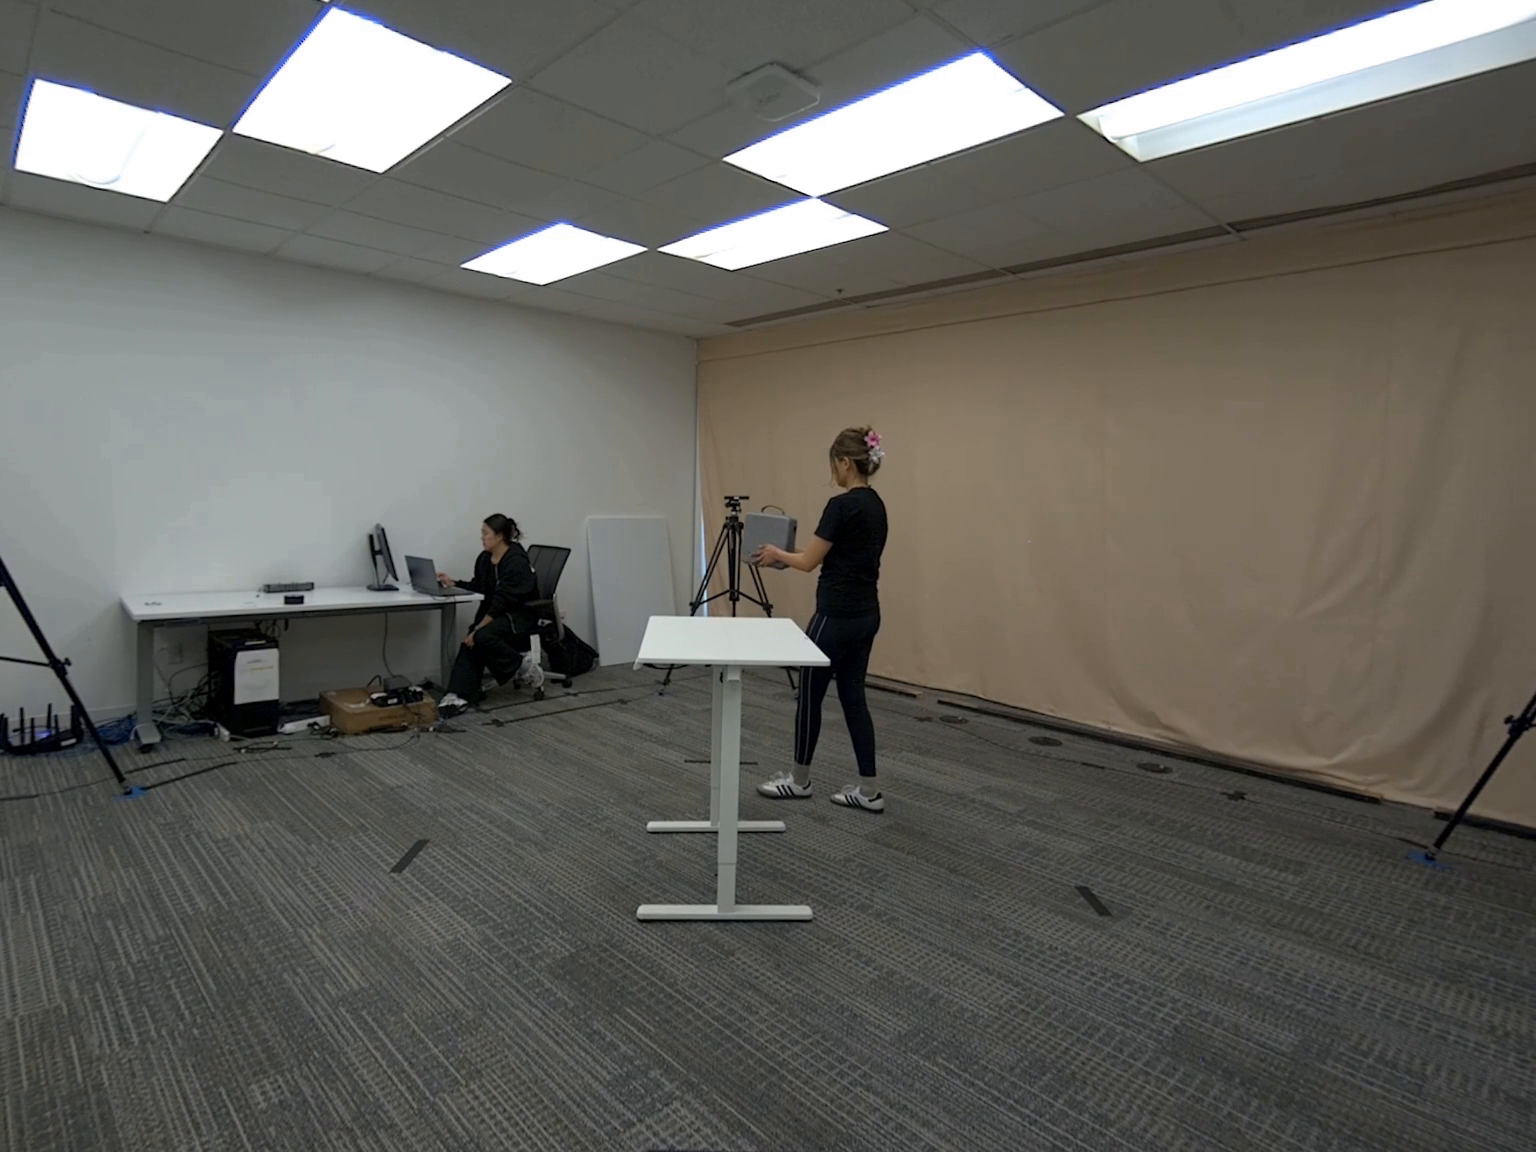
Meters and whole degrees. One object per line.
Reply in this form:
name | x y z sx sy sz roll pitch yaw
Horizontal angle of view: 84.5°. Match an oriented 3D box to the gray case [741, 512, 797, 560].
gray case | -0.007 -0.181 4.058 0.262 0.260 0.102 10 6 27
